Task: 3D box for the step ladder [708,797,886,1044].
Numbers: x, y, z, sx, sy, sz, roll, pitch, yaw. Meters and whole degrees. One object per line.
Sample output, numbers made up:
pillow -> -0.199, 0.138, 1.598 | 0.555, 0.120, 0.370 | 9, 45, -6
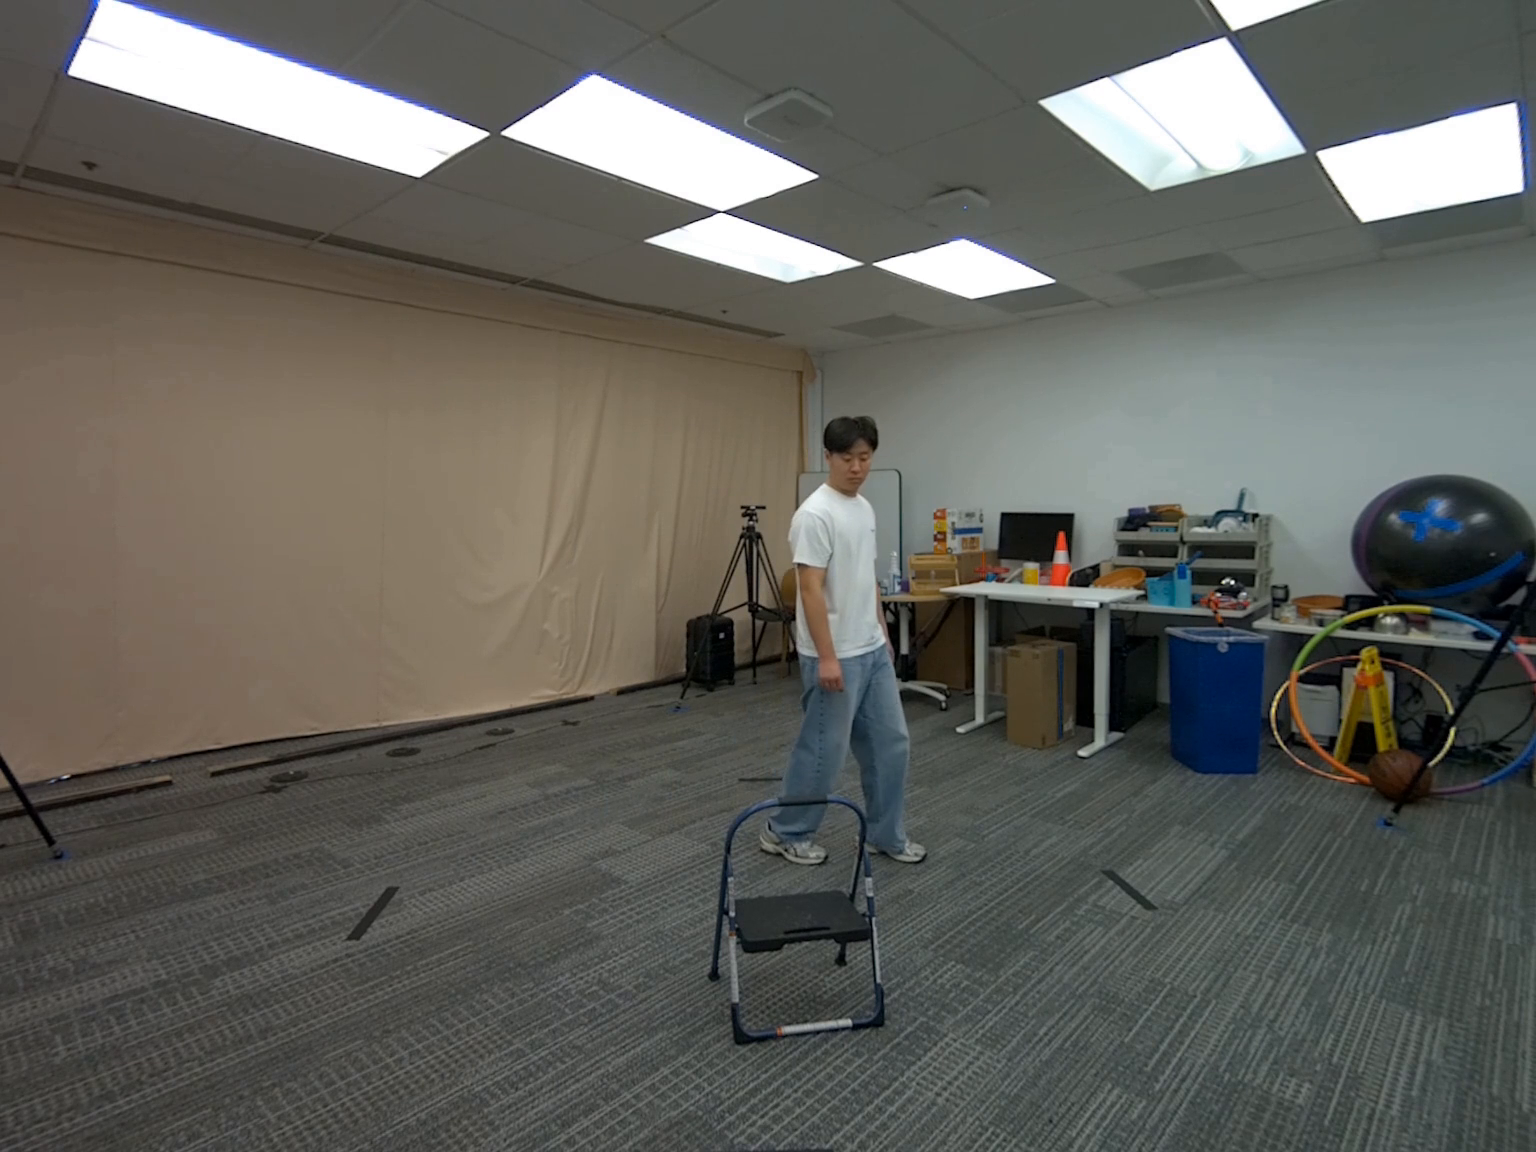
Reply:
step ladder -> 0.069, 0.896, 2.358 | 0.425, 0.604, 0.355 | -2, 4, -14
